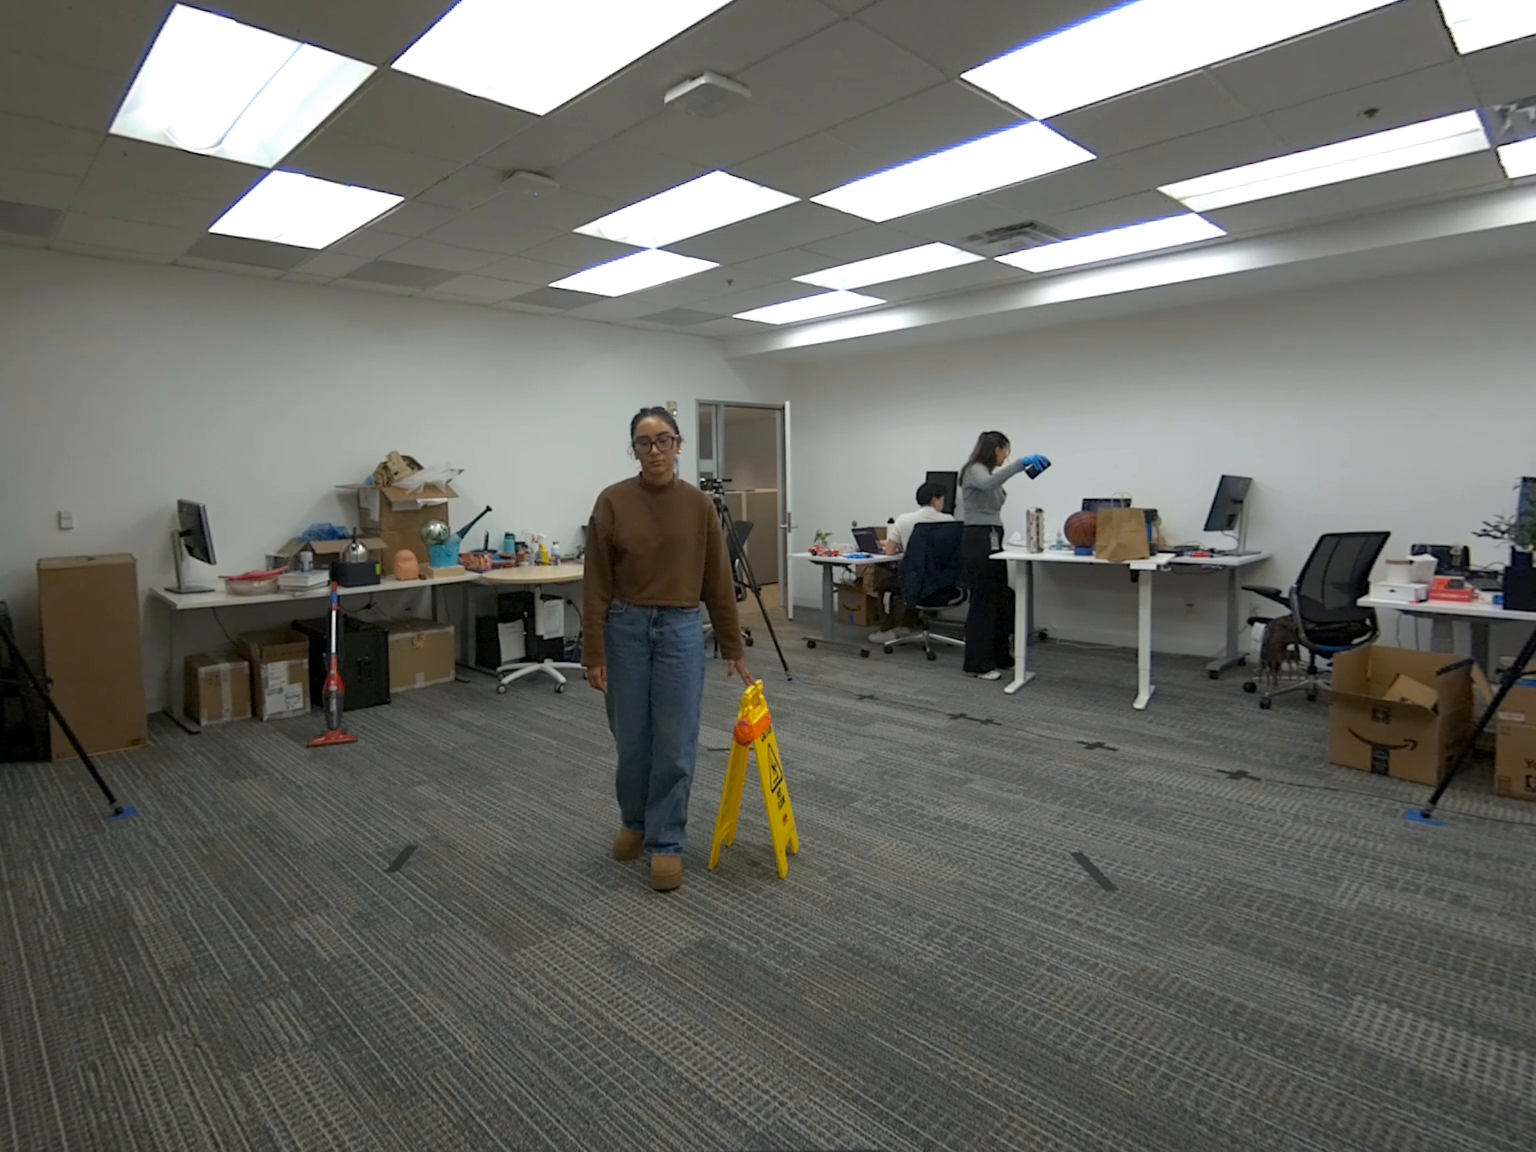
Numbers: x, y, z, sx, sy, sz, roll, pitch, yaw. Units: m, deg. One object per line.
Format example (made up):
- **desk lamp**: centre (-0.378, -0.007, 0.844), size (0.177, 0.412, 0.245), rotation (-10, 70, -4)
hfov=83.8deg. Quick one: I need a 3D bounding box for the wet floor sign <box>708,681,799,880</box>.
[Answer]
- **wet floor sign**: centre (-0.052, 0.714, 3.126), size (0.294, 0.645, 0.279), rotation (-1, 3, 15)
